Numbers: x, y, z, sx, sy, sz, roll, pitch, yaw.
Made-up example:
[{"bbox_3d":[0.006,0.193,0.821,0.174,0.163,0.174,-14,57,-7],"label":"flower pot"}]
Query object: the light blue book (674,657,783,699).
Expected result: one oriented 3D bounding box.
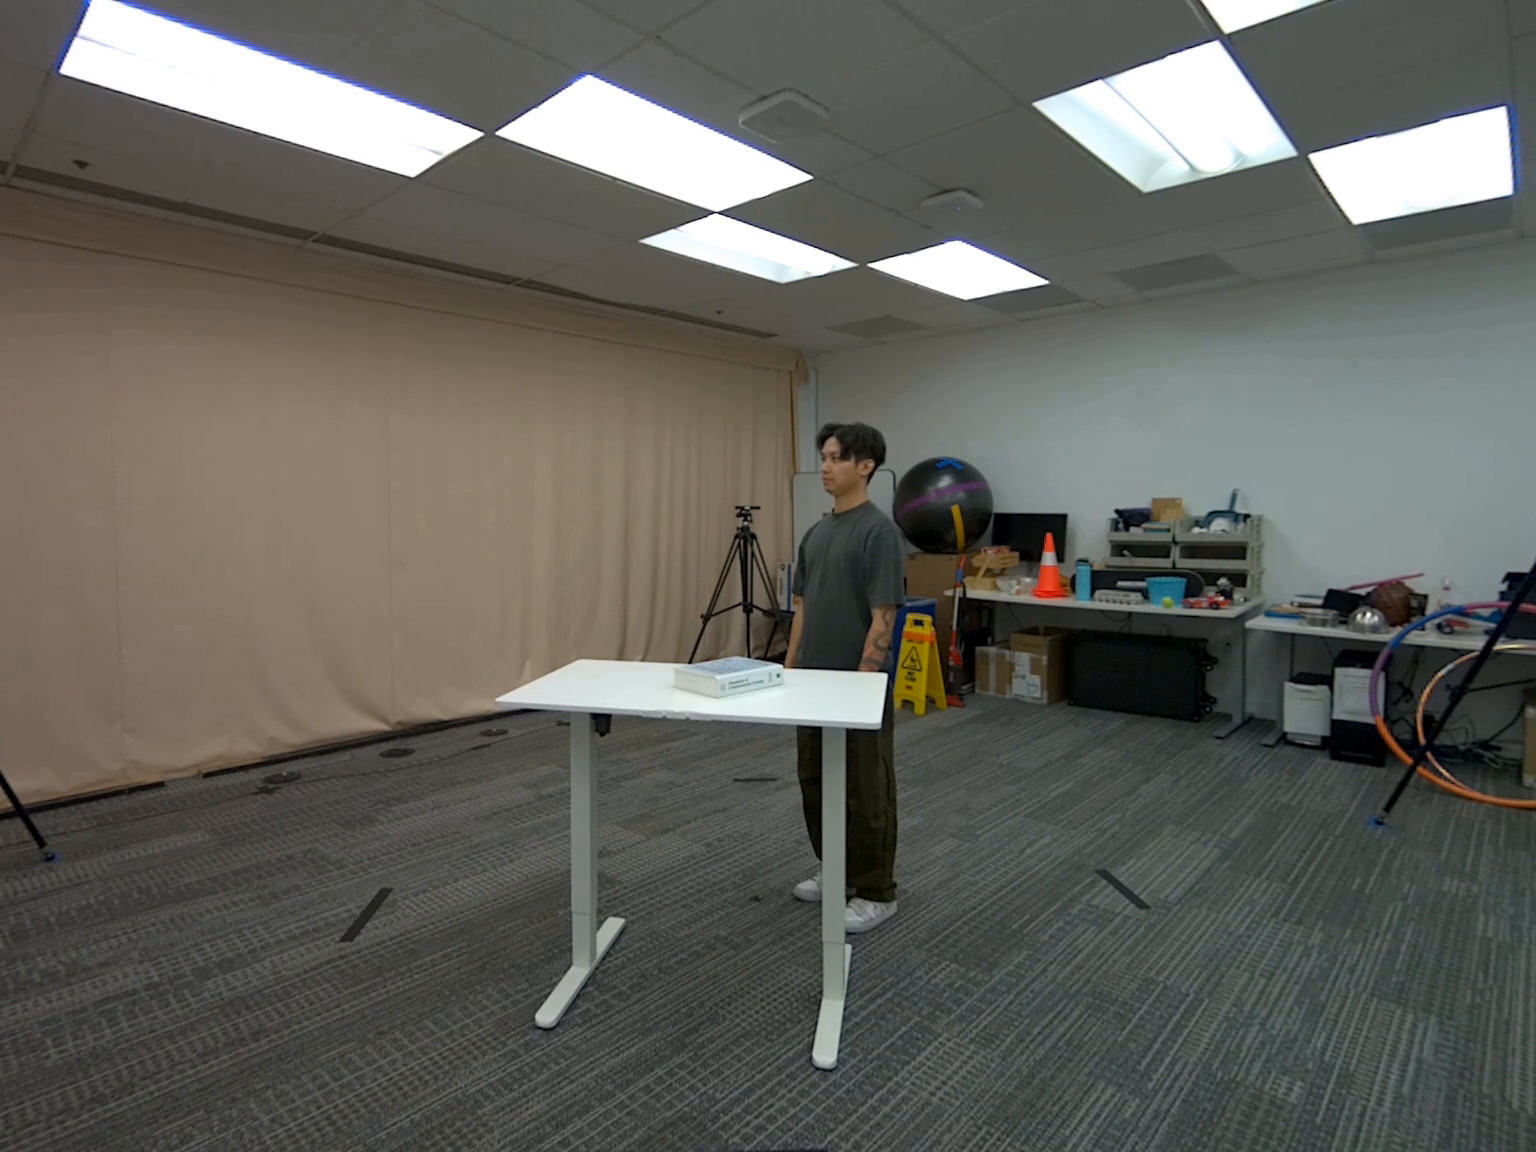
[{"bbox_3d":[-0.106,0.285,2.382,0.253,0.059,0.198,-4,7,-45],"label":"light blue book"}]
